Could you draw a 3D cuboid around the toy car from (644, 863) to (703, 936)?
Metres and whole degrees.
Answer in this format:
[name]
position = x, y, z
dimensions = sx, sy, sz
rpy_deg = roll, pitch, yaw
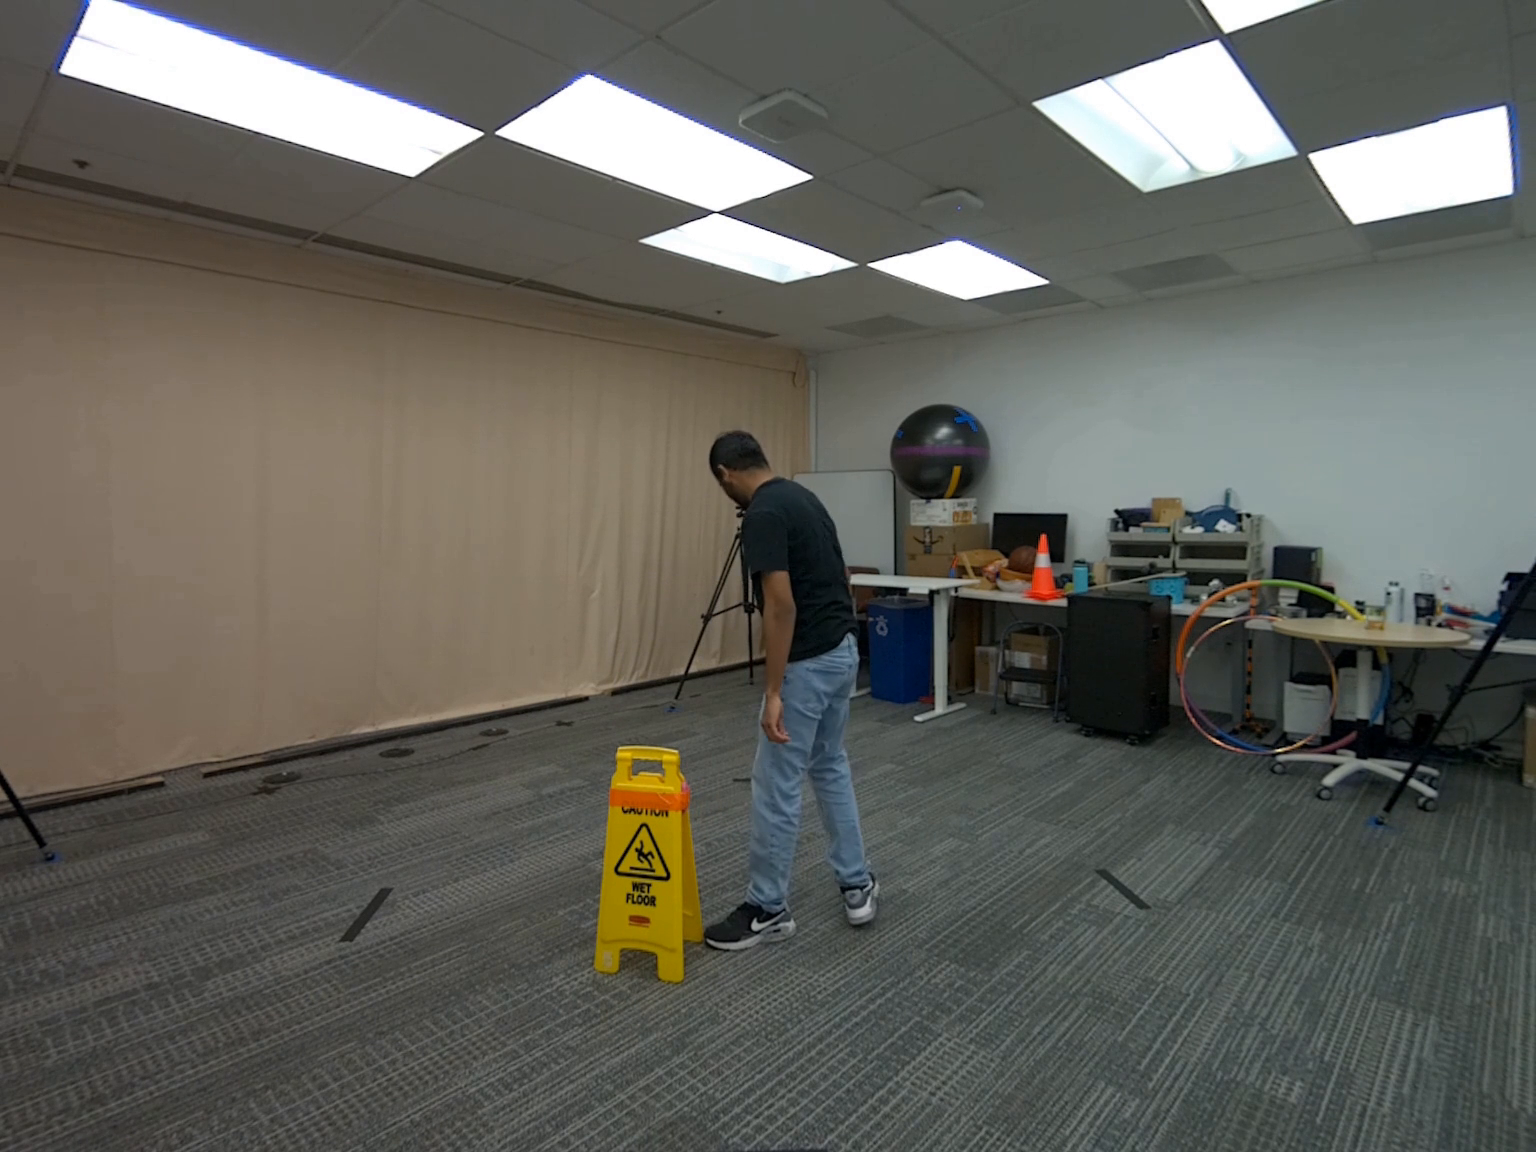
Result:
[toy car]
position = -0.326, 1.119, 2.947
dimensions = 0.132, 0.082, 0.254
rpy_deg = 1, 16, 11
